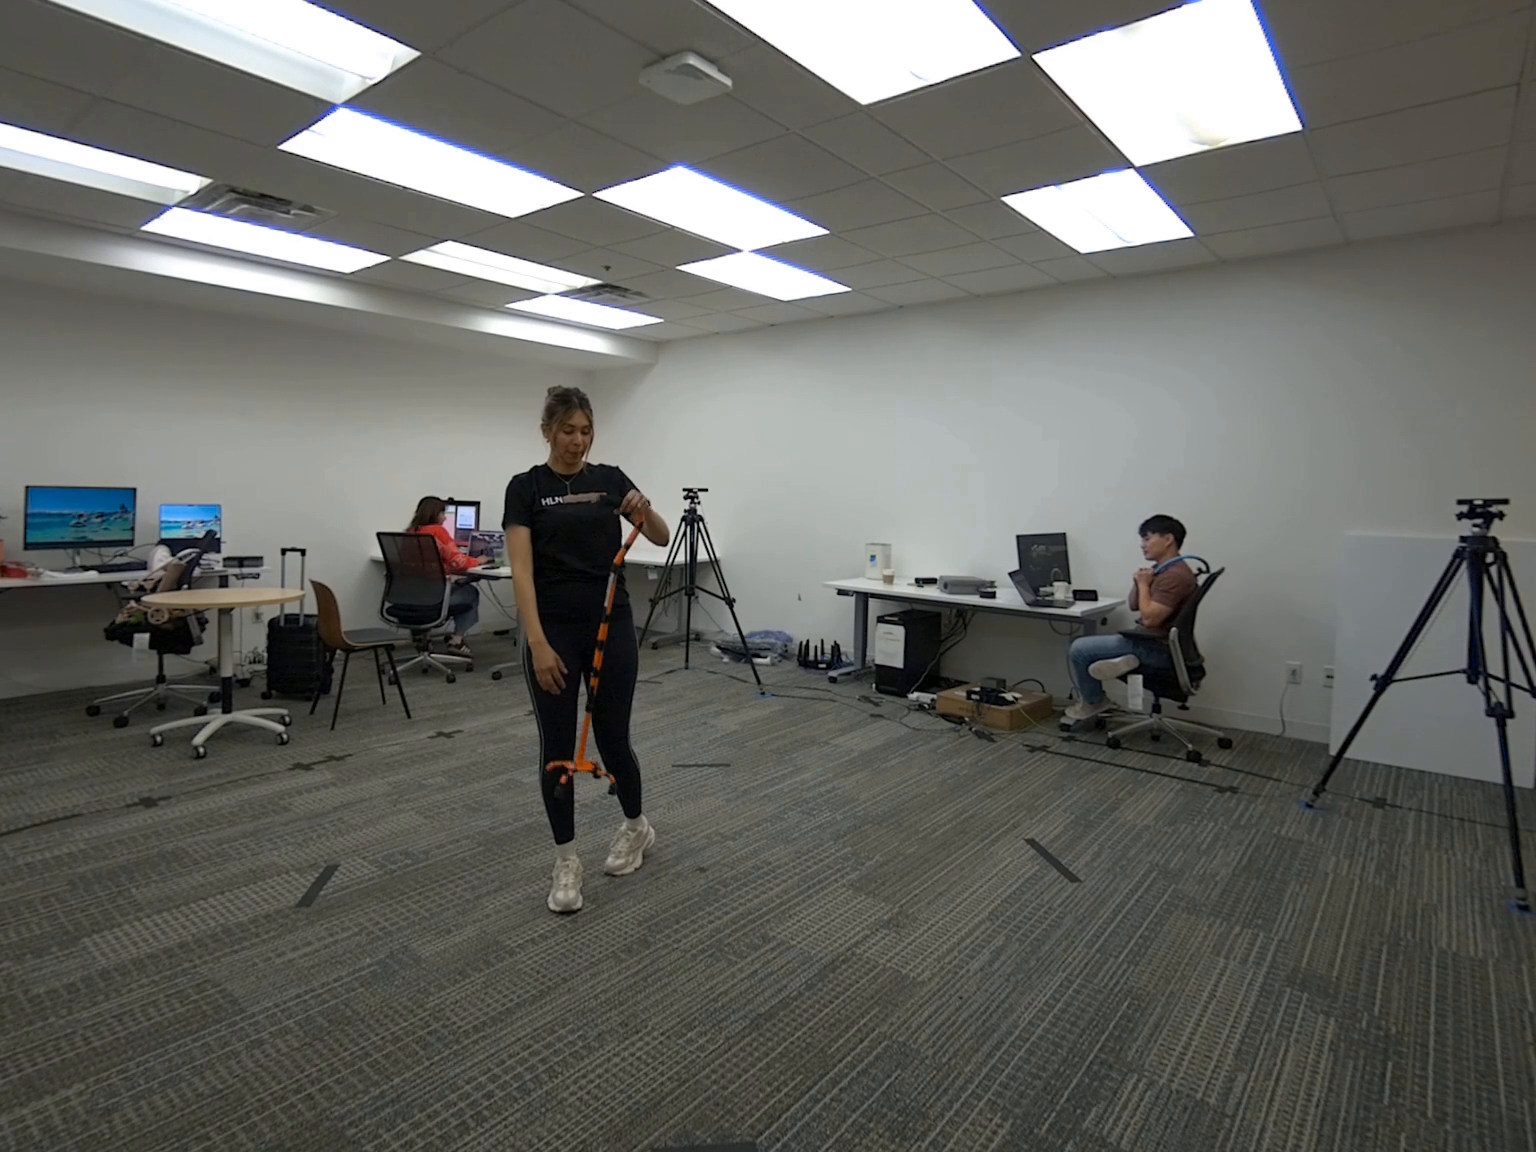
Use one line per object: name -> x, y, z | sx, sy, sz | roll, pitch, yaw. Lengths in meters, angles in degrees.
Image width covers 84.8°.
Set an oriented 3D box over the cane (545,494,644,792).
cane -> -0.503, 0.215, 2.617 | 0.200, 0.904, 0.157 | 8, 6, -33
